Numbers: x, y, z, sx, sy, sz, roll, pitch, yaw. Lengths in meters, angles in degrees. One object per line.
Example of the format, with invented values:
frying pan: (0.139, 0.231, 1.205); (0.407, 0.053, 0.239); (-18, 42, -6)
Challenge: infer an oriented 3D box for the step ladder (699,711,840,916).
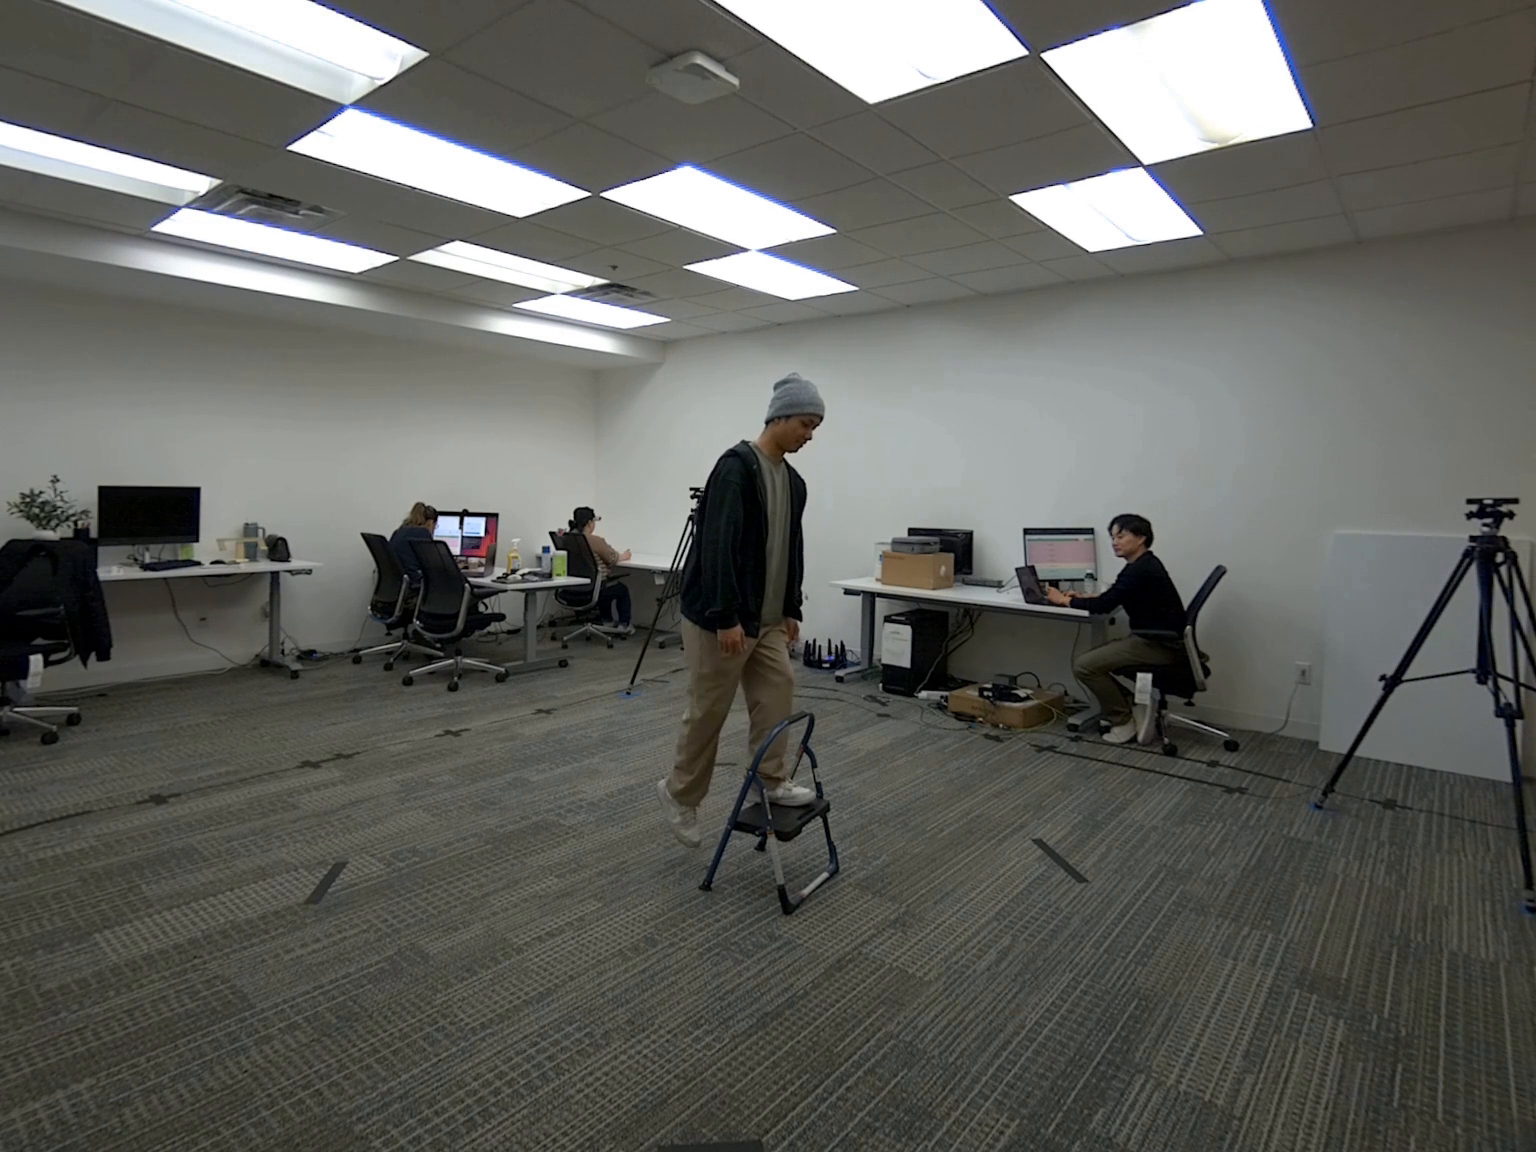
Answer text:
step ladder: (0.015, 0.778, 3.018); (0.359, 0.604, 0.420); (3, 4, 29)
